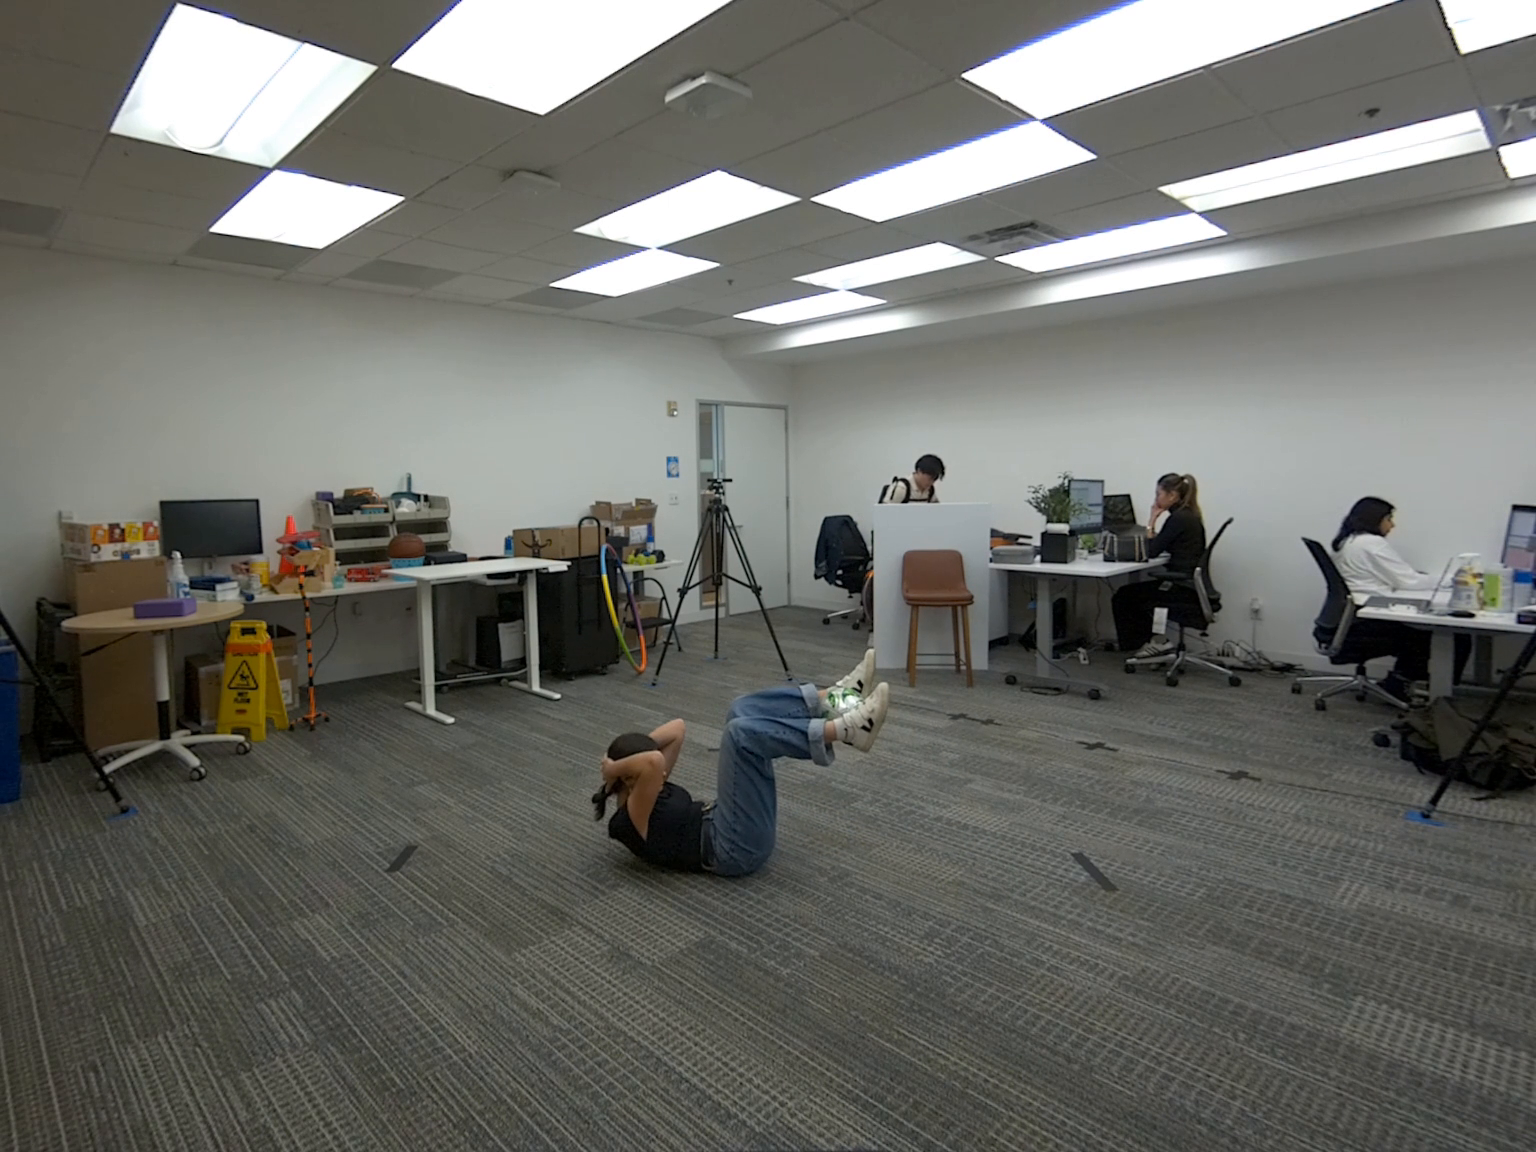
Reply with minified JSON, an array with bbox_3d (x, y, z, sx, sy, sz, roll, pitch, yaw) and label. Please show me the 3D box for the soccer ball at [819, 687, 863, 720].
[{"bbox_3d":[0.277,0.490,3.045,0.187,0.187,0.188,0,1,-2],"label":"soccer ball"}]
